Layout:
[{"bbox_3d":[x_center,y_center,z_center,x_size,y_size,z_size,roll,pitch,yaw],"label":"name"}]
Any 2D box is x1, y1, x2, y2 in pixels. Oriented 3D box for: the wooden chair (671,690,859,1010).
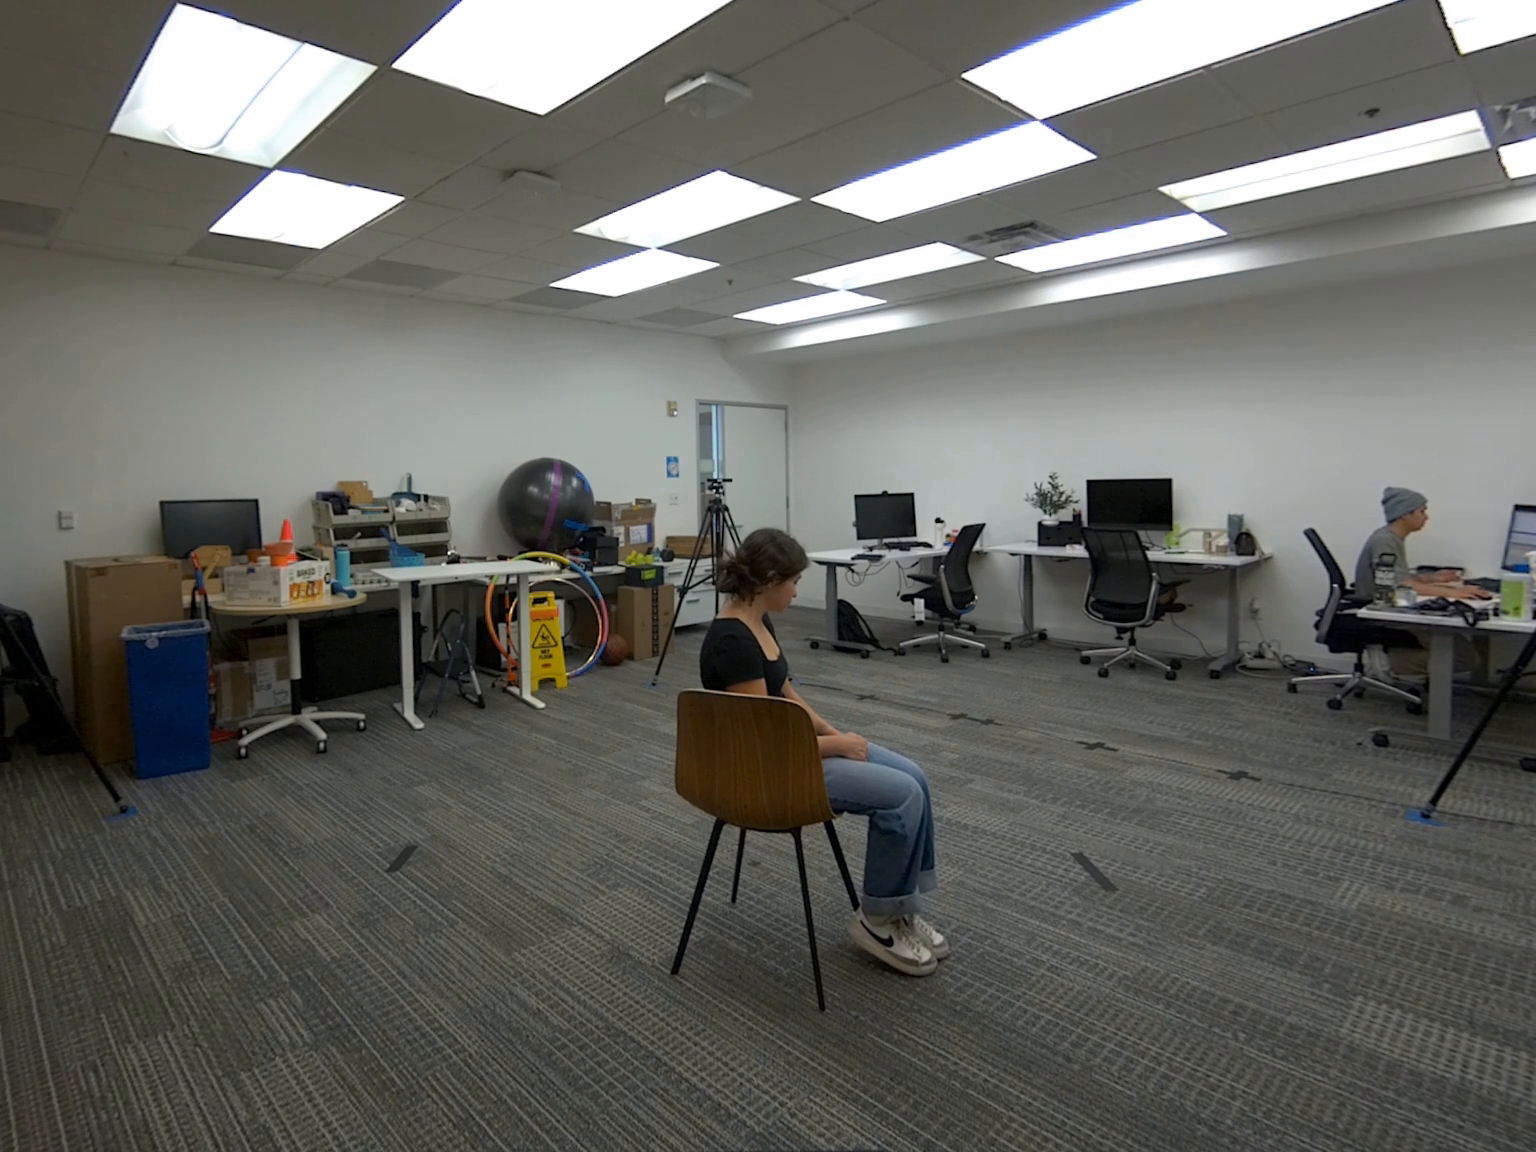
[{"bbox_3d":[0.007,0.688,2.509,0.488,0.870,0.516,2,9,22],"label":"wooden chair"}]
